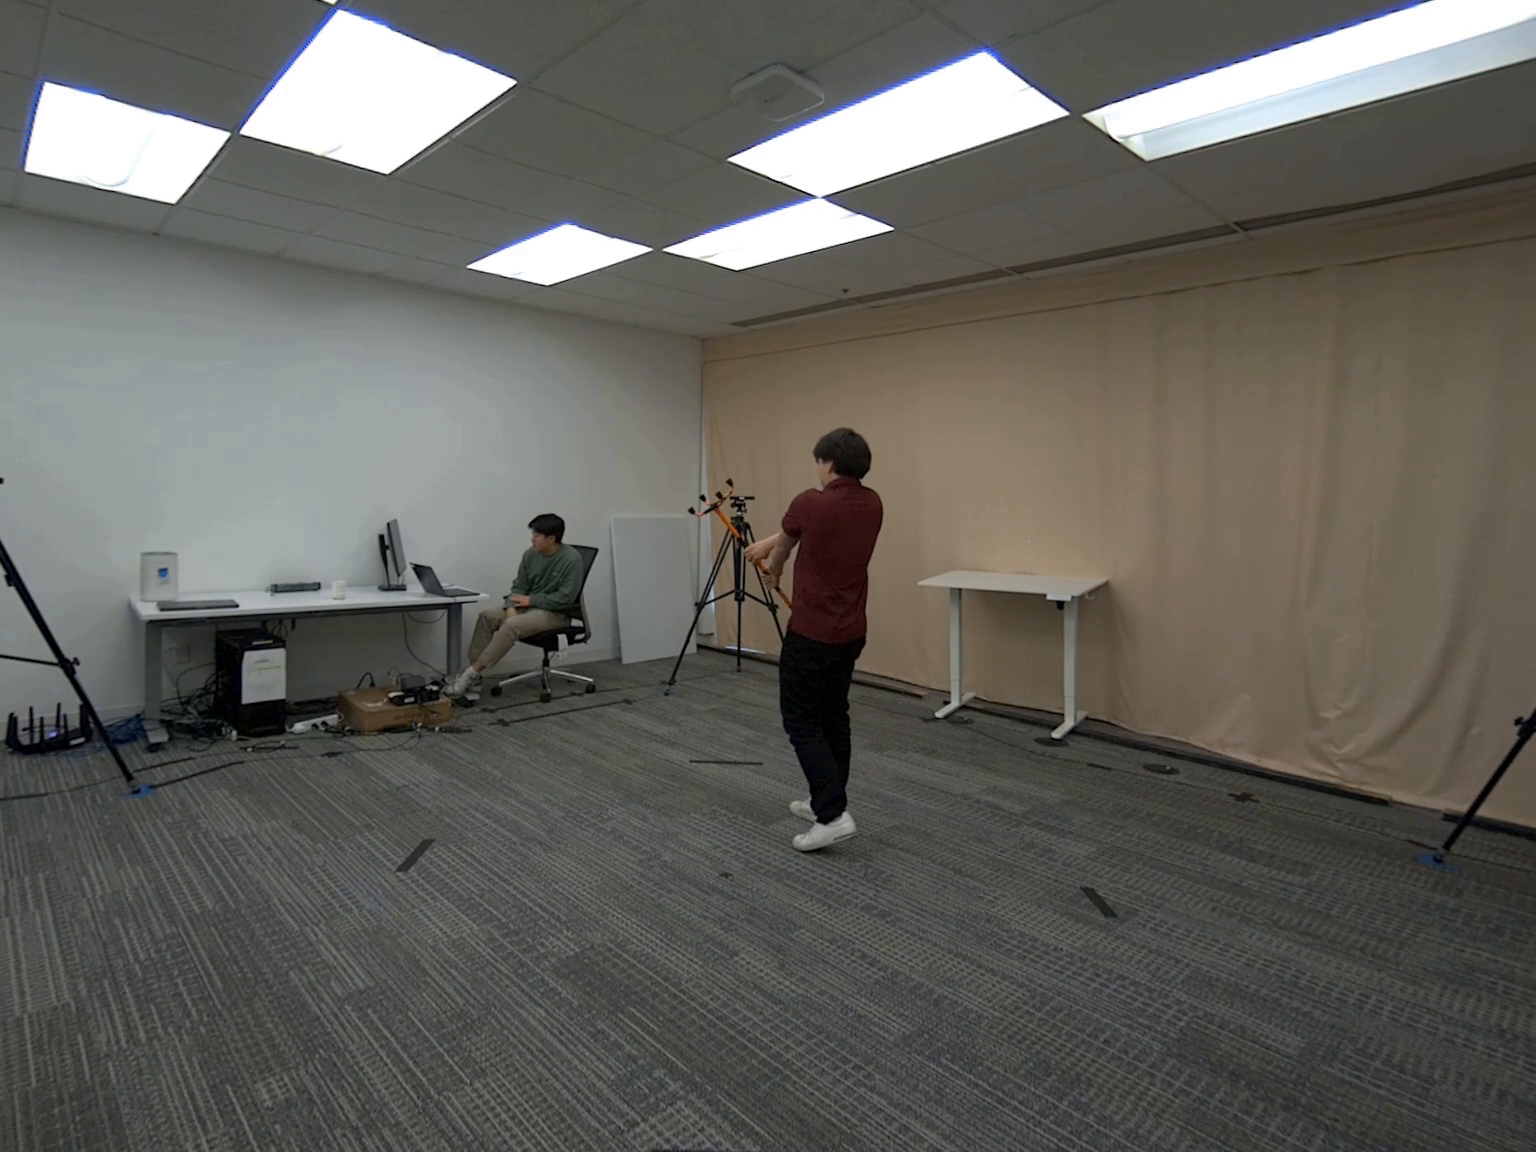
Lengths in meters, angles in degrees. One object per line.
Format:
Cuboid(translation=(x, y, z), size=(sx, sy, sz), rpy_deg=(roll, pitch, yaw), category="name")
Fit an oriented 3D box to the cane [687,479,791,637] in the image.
Cuboid(translation=(-0.009, -0.017, 3.864), size=(0.209, 0.895, 0.152), rpy_deg=(-26, 17, 39), category="cane")
